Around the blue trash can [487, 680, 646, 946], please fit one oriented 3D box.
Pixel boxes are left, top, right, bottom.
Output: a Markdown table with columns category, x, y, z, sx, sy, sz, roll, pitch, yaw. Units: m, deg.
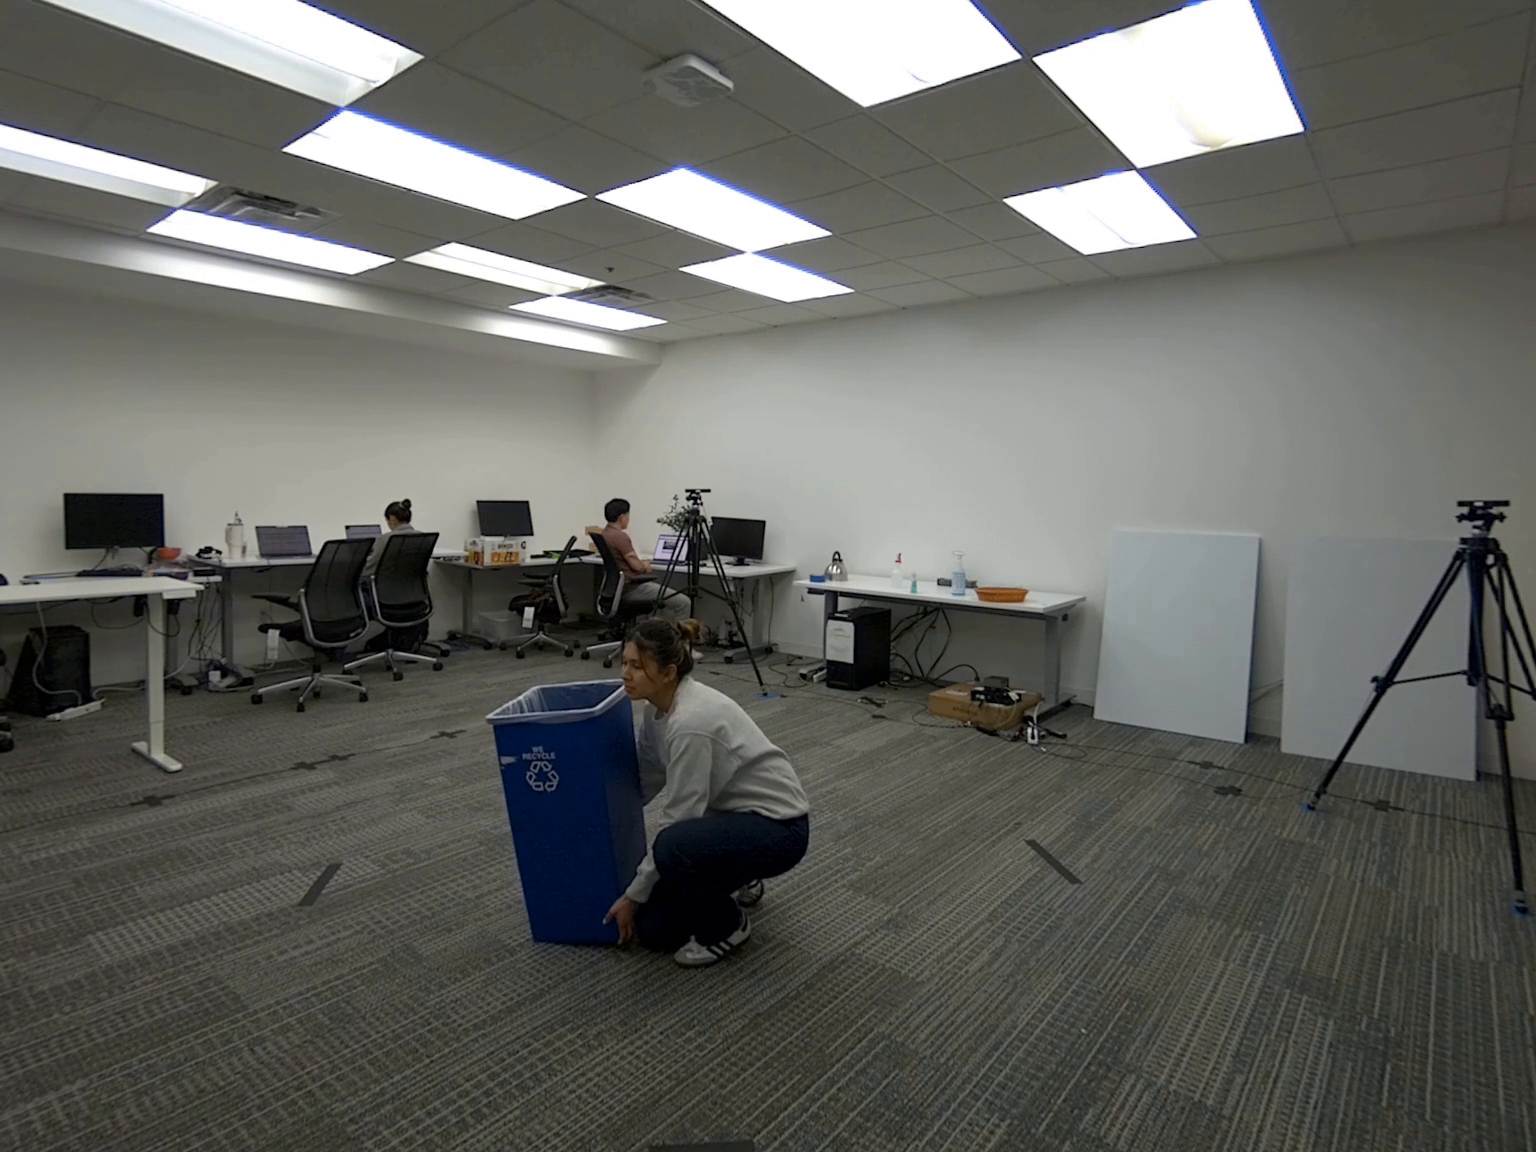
| category | x | y | z | sx | sy | sz | roll | pitch | yaw |
| --- | --- | --- | --- | --- | --- | --- | --- | --- | --- |
| blue trash can | -0.607 | 0.727 | 2.690 | 0.379 | 0.711 | 0.375 | -7 | 3 | 13 |
